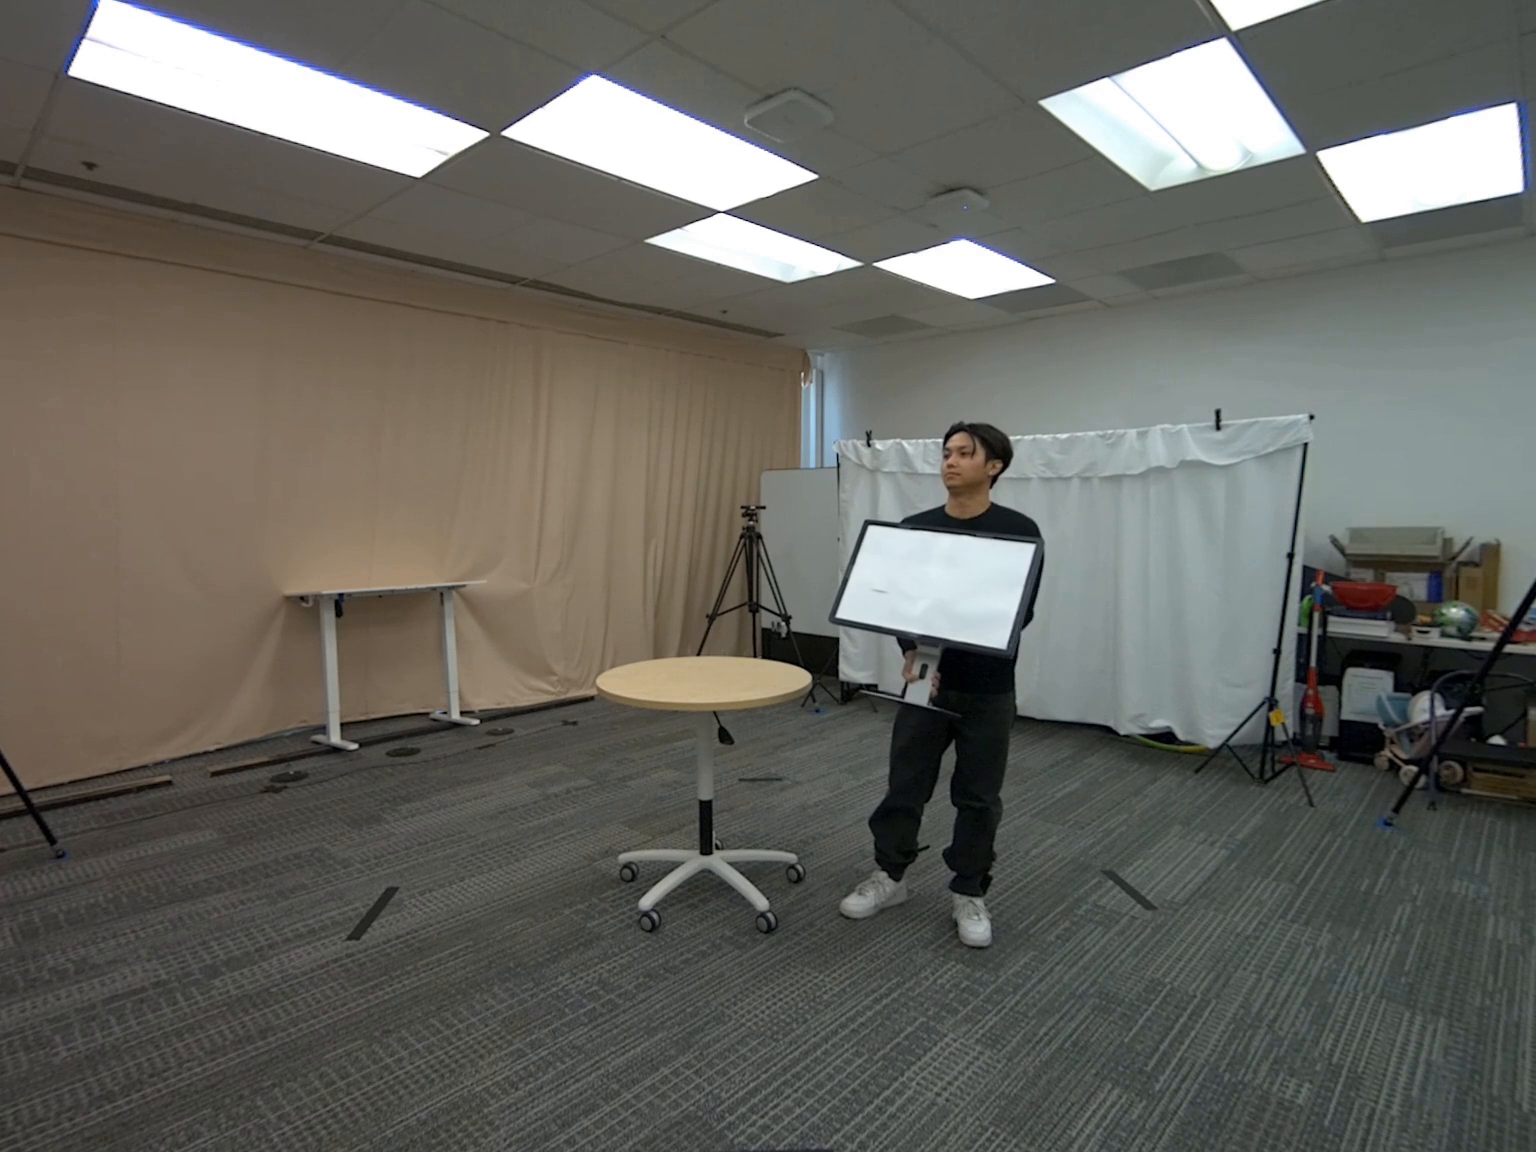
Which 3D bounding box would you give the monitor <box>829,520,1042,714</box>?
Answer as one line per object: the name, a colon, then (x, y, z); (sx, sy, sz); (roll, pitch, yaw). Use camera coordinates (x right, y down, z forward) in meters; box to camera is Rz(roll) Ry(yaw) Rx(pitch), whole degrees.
monitor: (0.476, 0.115, 2.489); (0.557, 0.524, 0.180); (9, -10, 35)
